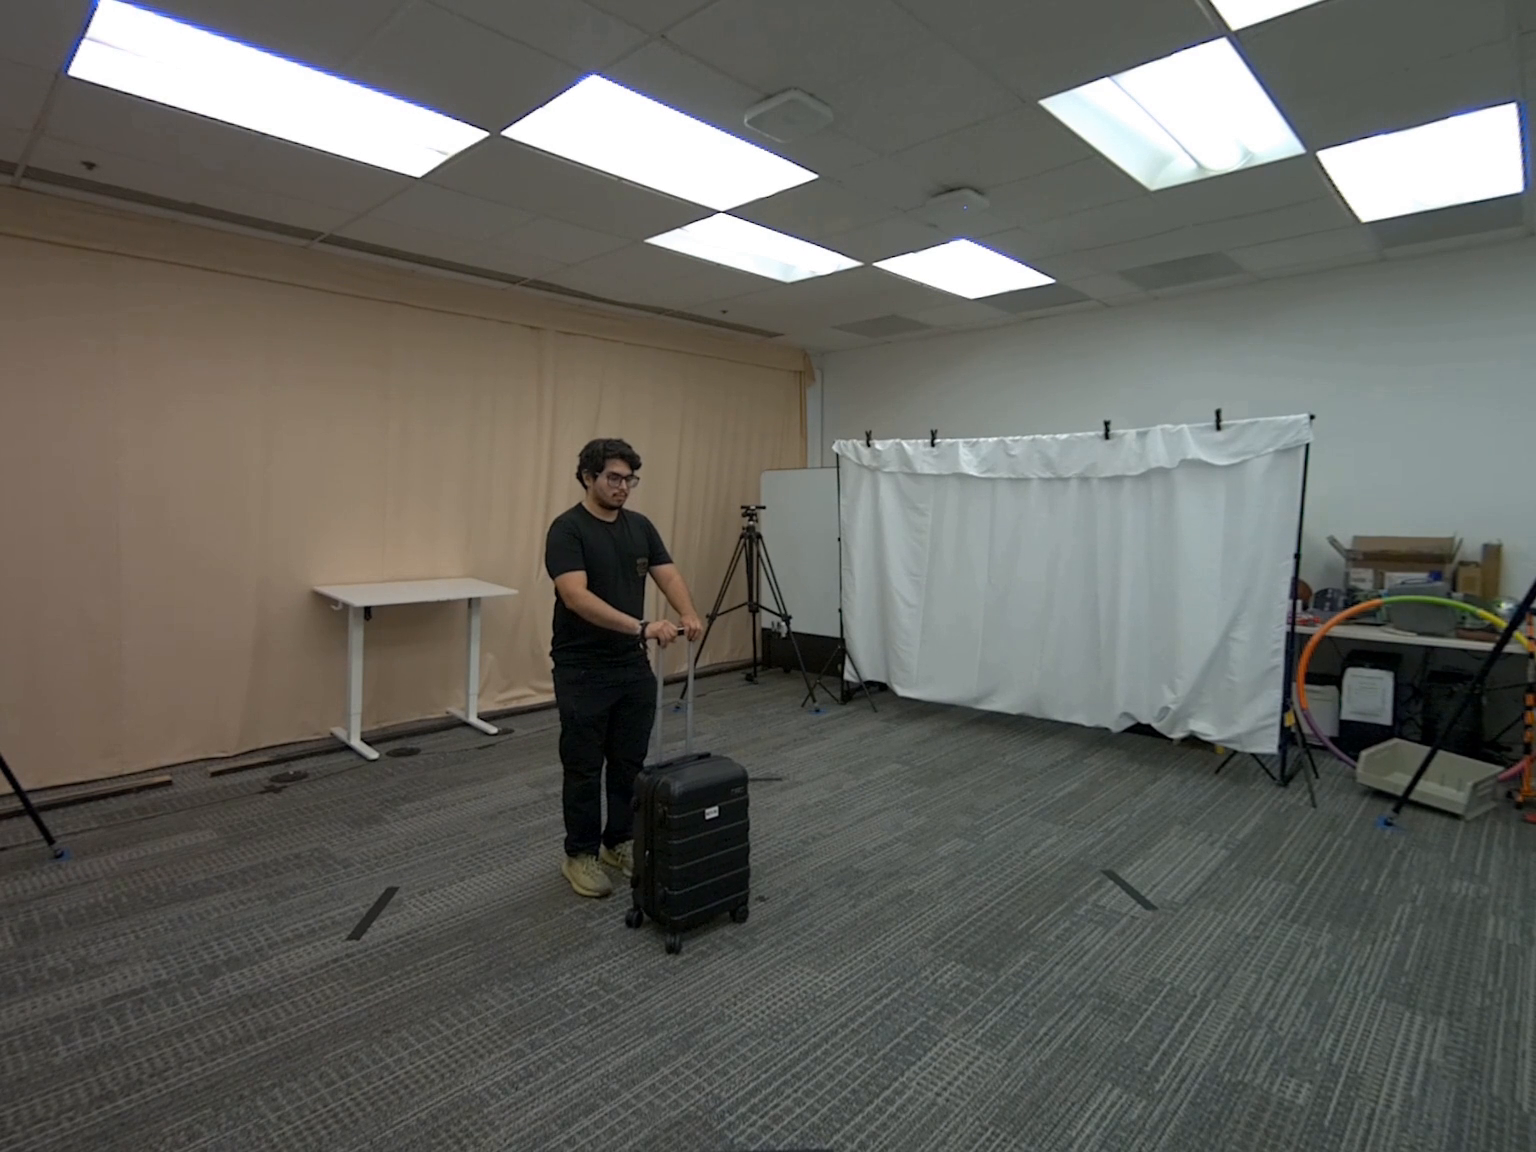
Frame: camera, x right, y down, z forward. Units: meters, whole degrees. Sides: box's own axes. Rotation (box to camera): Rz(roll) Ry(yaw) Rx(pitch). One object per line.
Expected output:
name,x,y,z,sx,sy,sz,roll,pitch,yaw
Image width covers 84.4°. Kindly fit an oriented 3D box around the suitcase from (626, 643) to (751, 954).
suitcase,-0.245,0.684,2.788,0.372,0.976,0.266,-2,6,-41
